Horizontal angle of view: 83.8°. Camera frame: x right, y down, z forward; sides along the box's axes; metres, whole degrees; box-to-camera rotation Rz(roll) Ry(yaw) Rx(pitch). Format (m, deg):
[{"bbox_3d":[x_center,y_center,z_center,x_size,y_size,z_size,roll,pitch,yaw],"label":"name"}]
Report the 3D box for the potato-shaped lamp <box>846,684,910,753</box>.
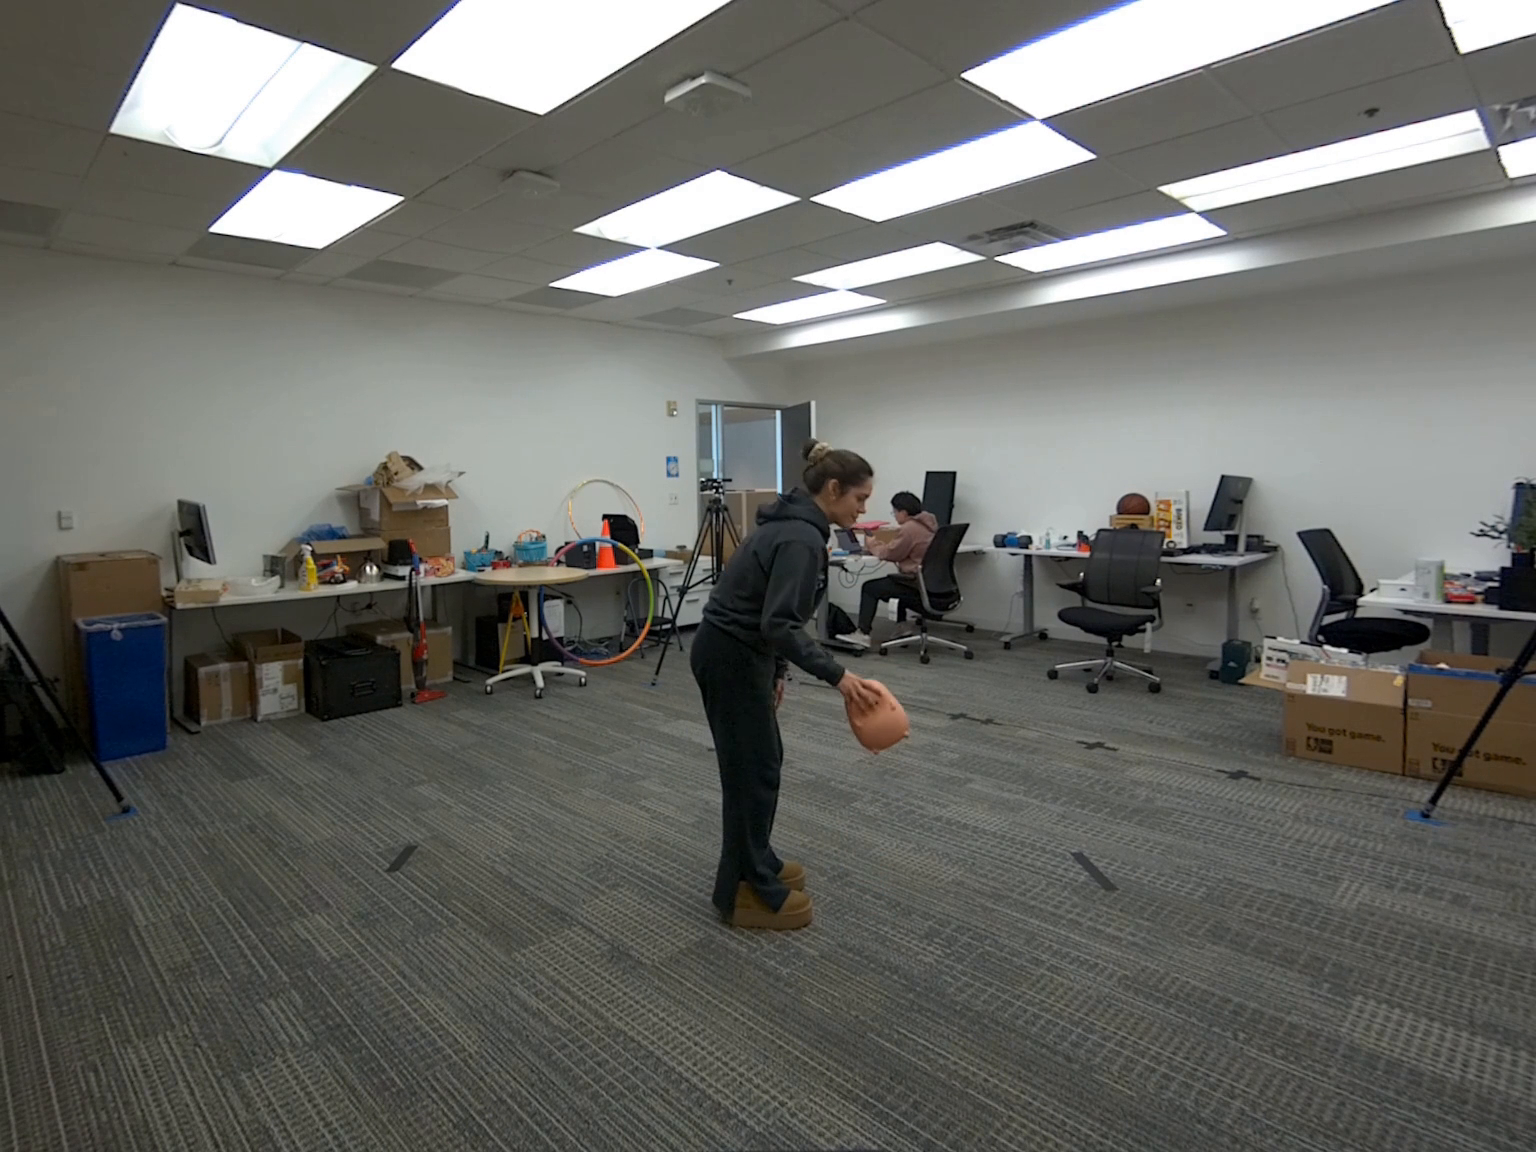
[{"bbox_3d":[0.307,0.409,2.544,0.165,0.197,0.172,-26,6,7],"label":"potato-shaped lamp"}]
